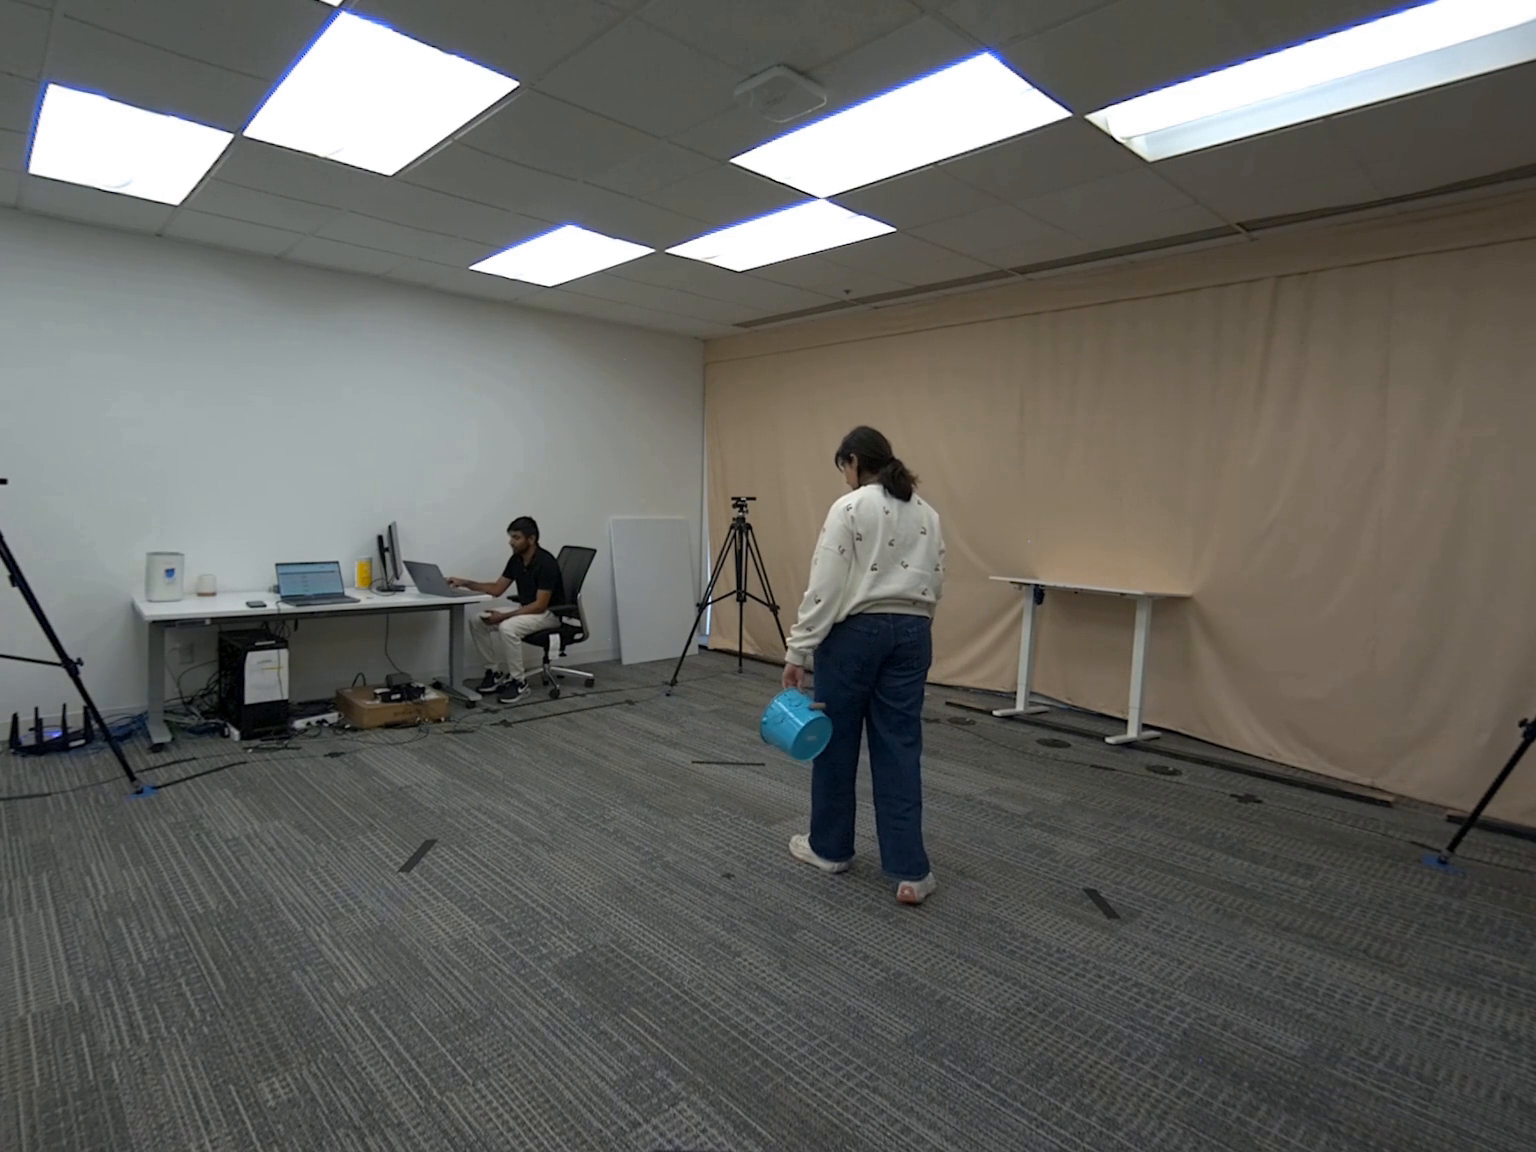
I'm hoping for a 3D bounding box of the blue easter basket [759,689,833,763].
[{"bbox_3d":[0.090,0.513,2.944,0.238,0.241,0.161,-2,23,-40],"label":"blue easter basket"}]
